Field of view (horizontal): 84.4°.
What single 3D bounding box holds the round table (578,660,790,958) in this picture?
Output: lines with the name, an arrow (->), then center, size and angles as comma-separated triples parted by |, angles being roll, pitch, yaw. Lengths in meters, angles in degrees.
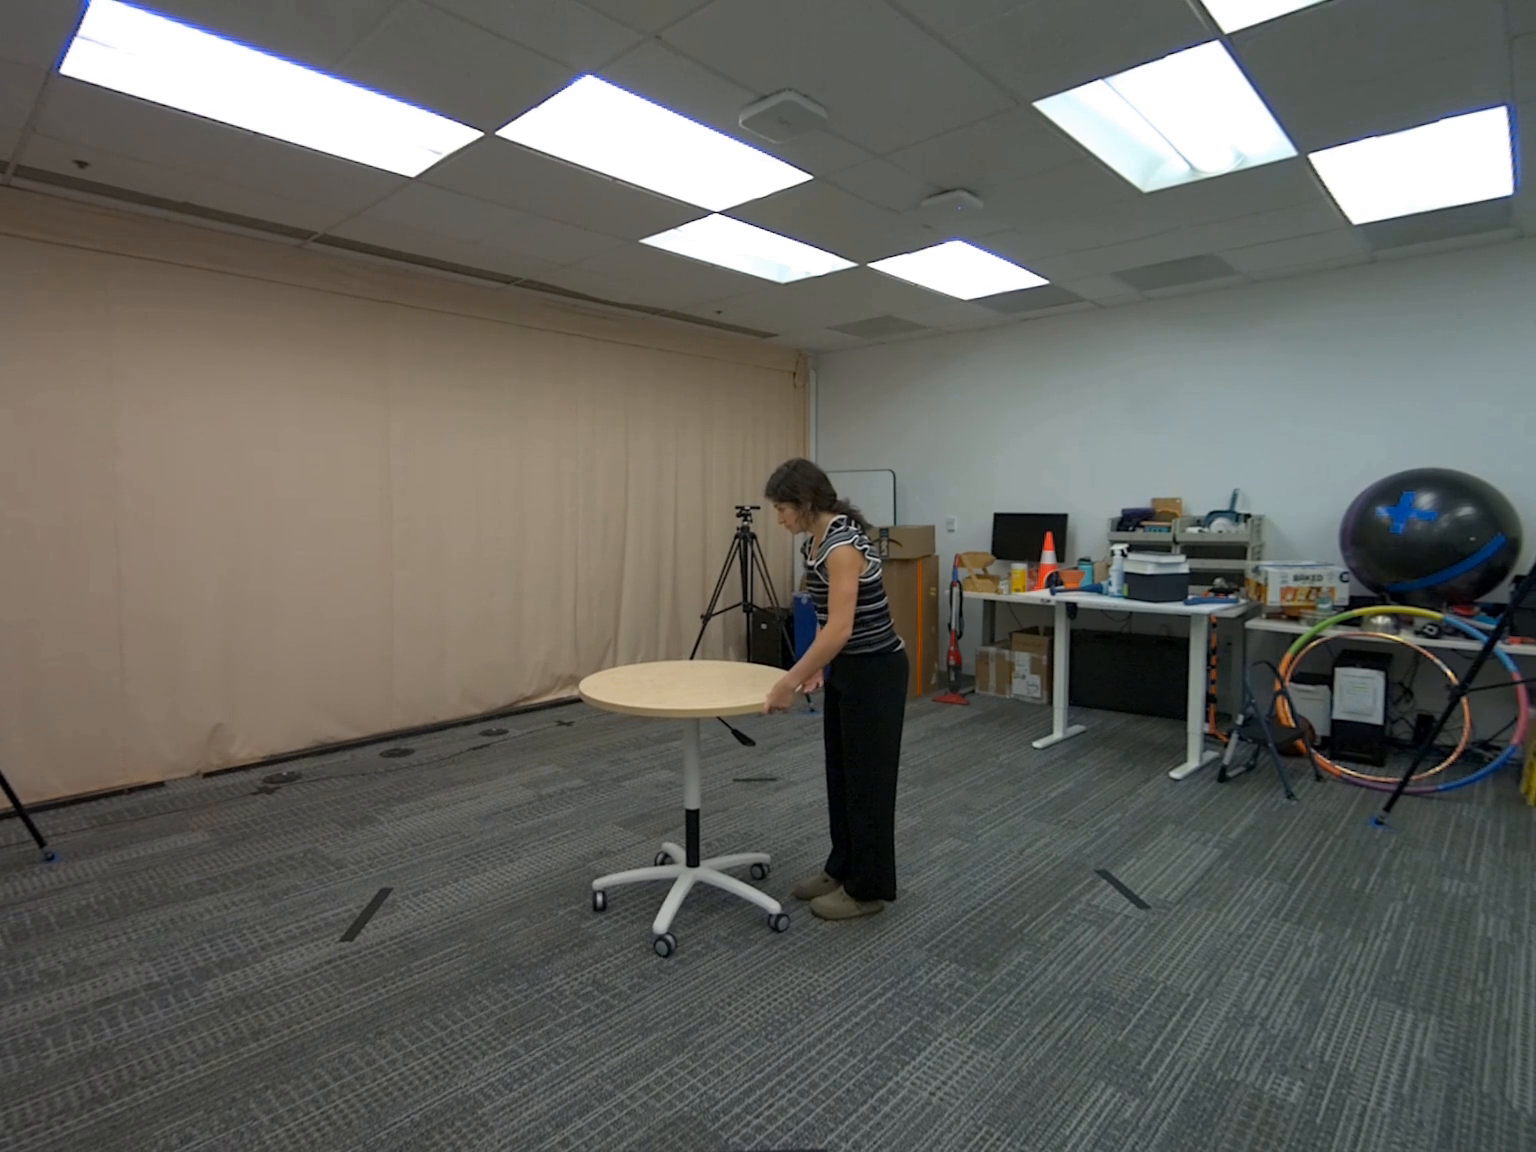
round table -> -0.273, 0.757, 2.926 | 0.784, 0.785, 0.788 | 0, 4, -2
